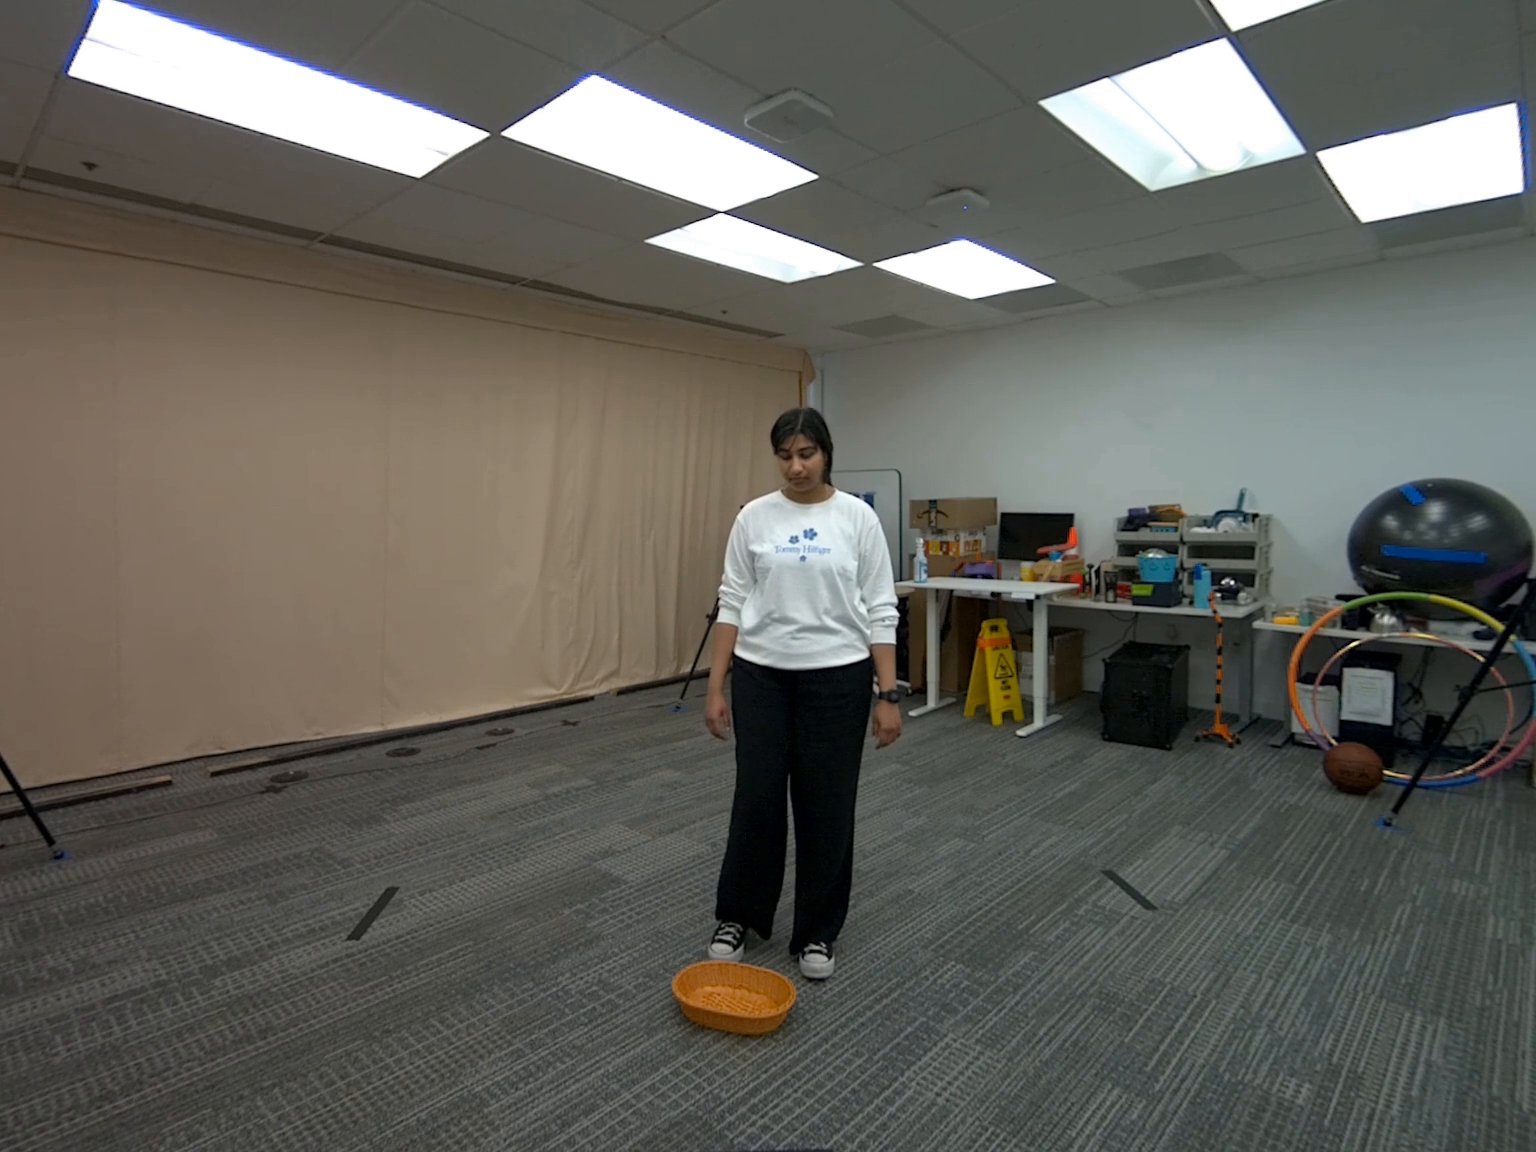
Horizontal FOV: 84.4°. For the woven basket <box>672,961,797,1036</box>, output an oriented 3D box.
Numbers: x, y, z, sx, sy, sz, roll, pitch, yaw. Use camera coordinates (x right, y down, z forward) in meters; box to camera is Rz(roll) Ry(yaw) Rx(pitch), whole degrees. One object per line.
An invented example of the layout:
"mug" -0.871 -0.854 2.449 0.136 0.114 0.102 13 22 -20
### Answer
"woven basket" -0.088 1.158 2.321 0.359 0.073 0.247 1 5 24
